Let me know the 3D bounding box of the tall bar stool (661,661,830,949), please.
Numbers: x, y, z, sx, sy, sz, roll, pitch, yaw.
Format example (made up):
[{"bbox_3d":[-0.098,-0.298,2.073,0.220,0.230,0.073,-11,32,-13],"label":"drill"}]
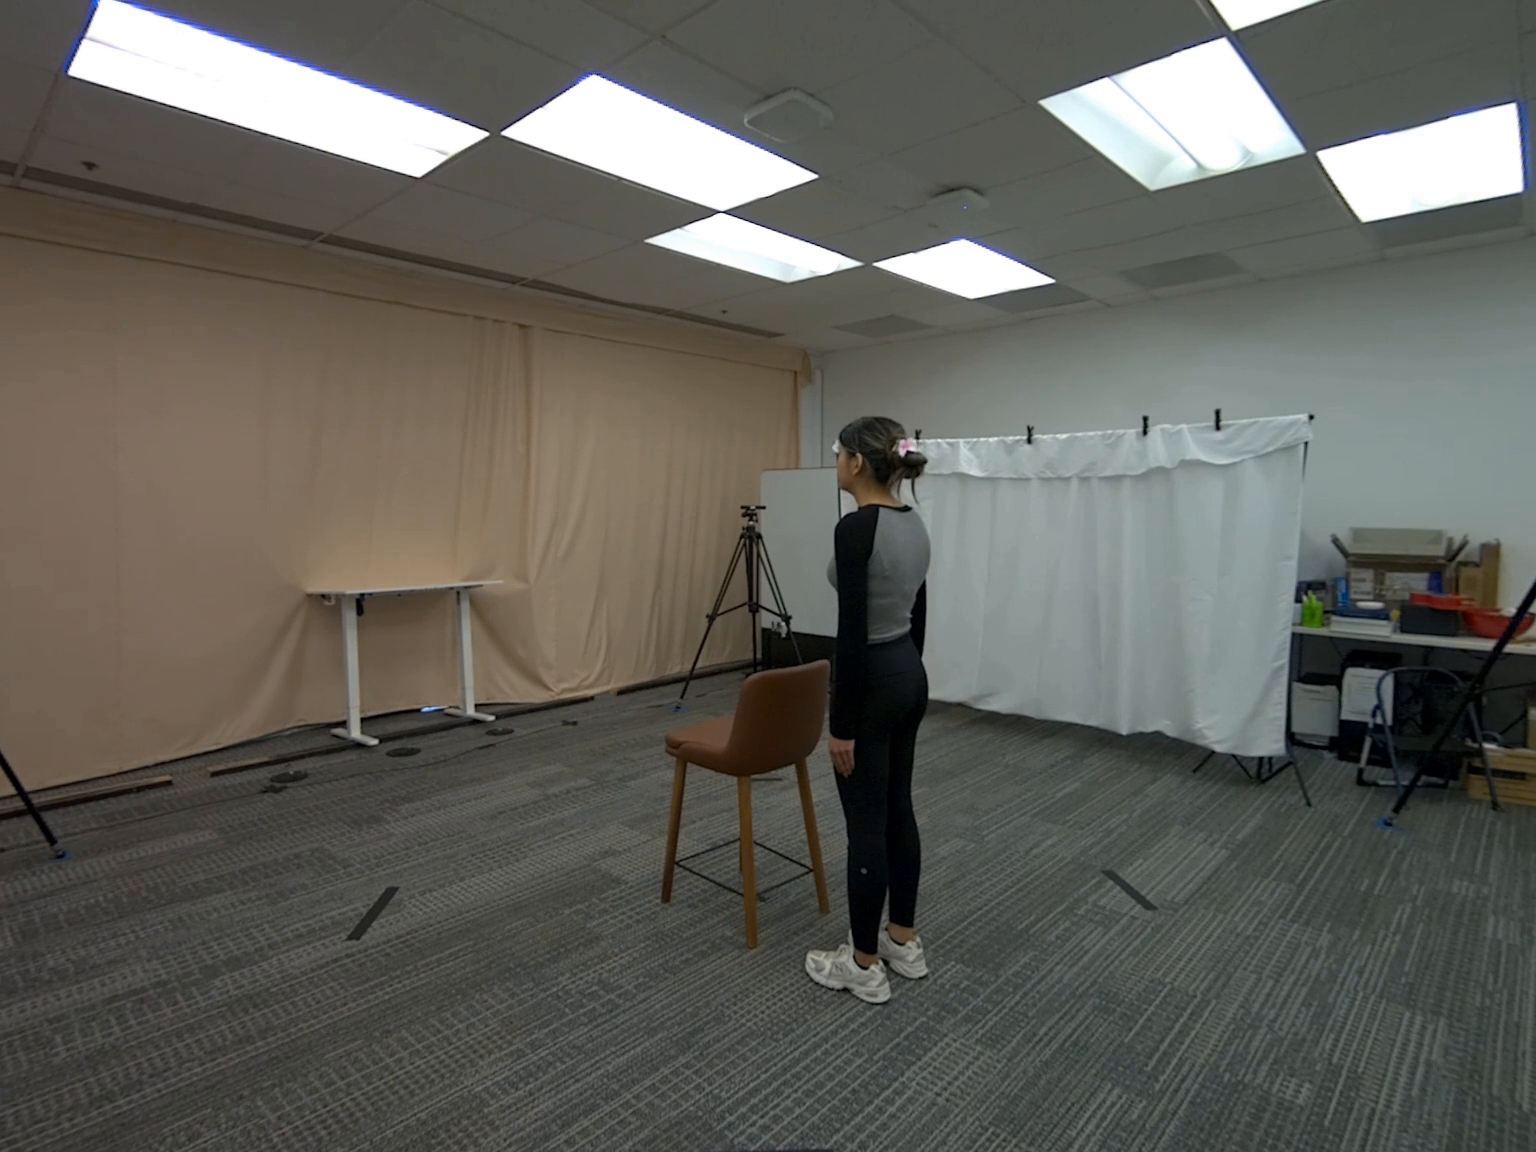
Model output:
[{"bbox_3d":[-0.071,0.715,2.901,0.442,0.887,0.484,-4,7,-43],"label":"tall bar stool"}]
